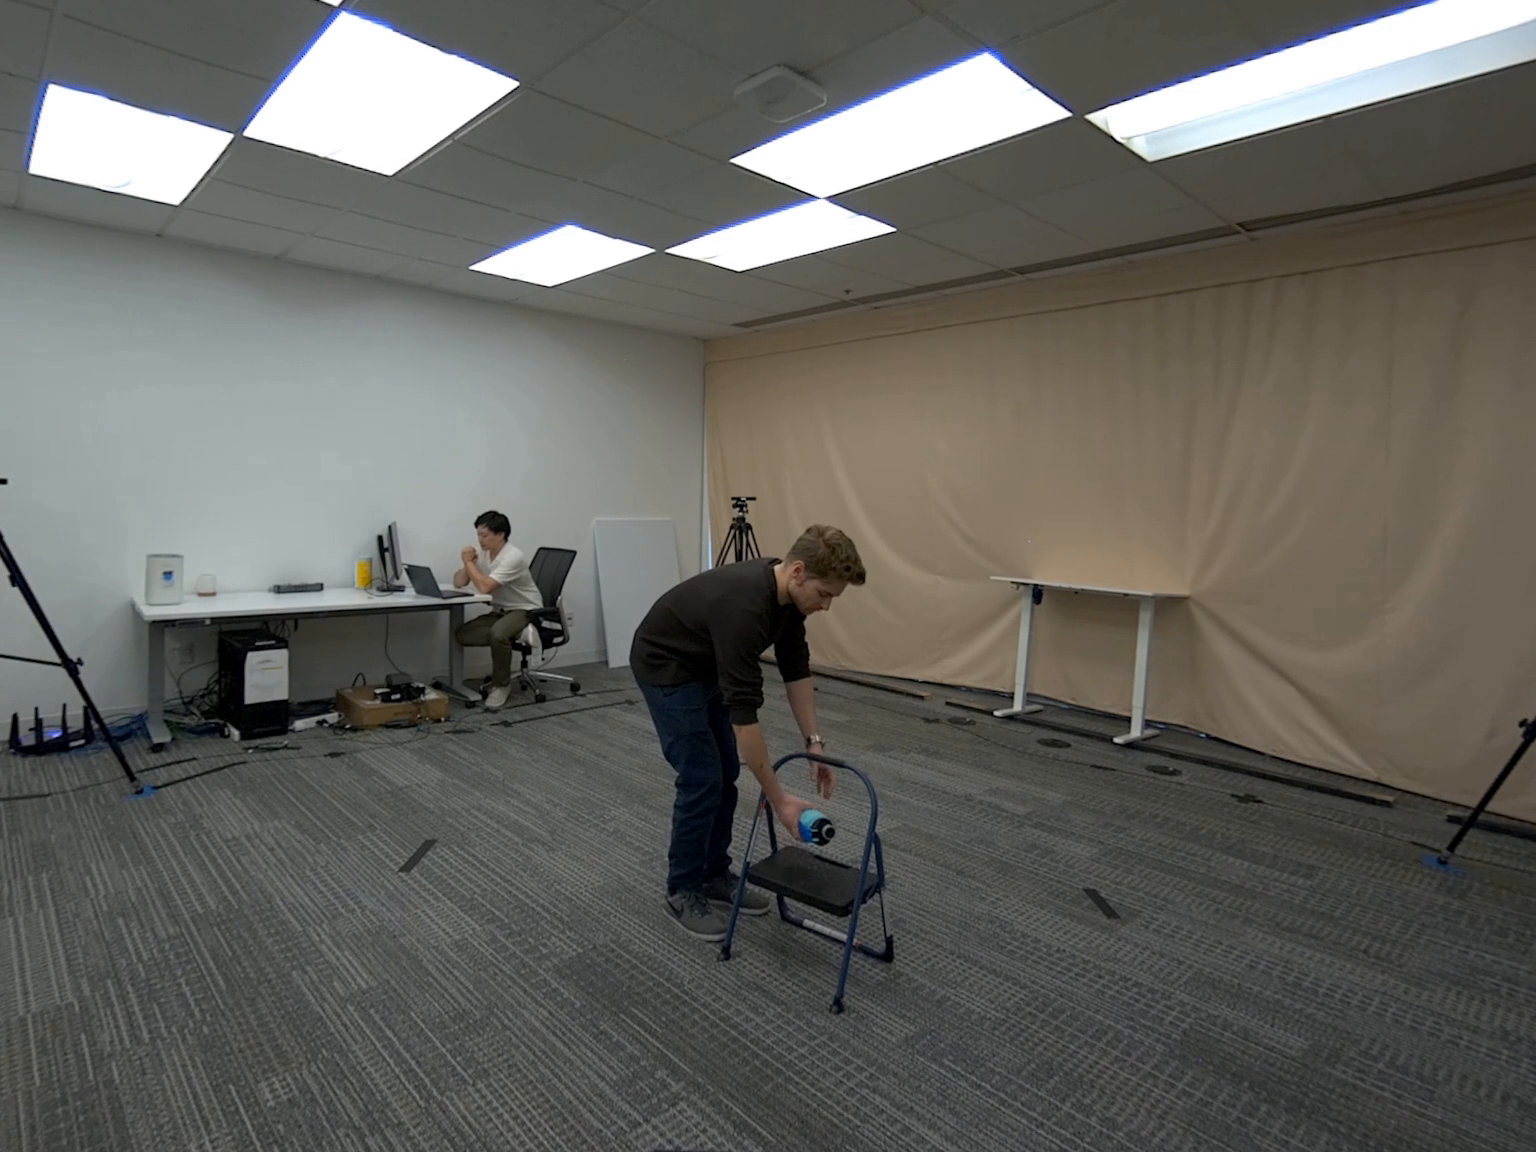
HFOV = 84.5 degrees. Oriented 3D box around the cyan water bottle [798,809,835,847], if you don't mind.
[{"bbox_3d":[0.116,0.746,2.536,0.091,0.092,0.286,0,-2,-18],"label":"cyan water bottle"}]
